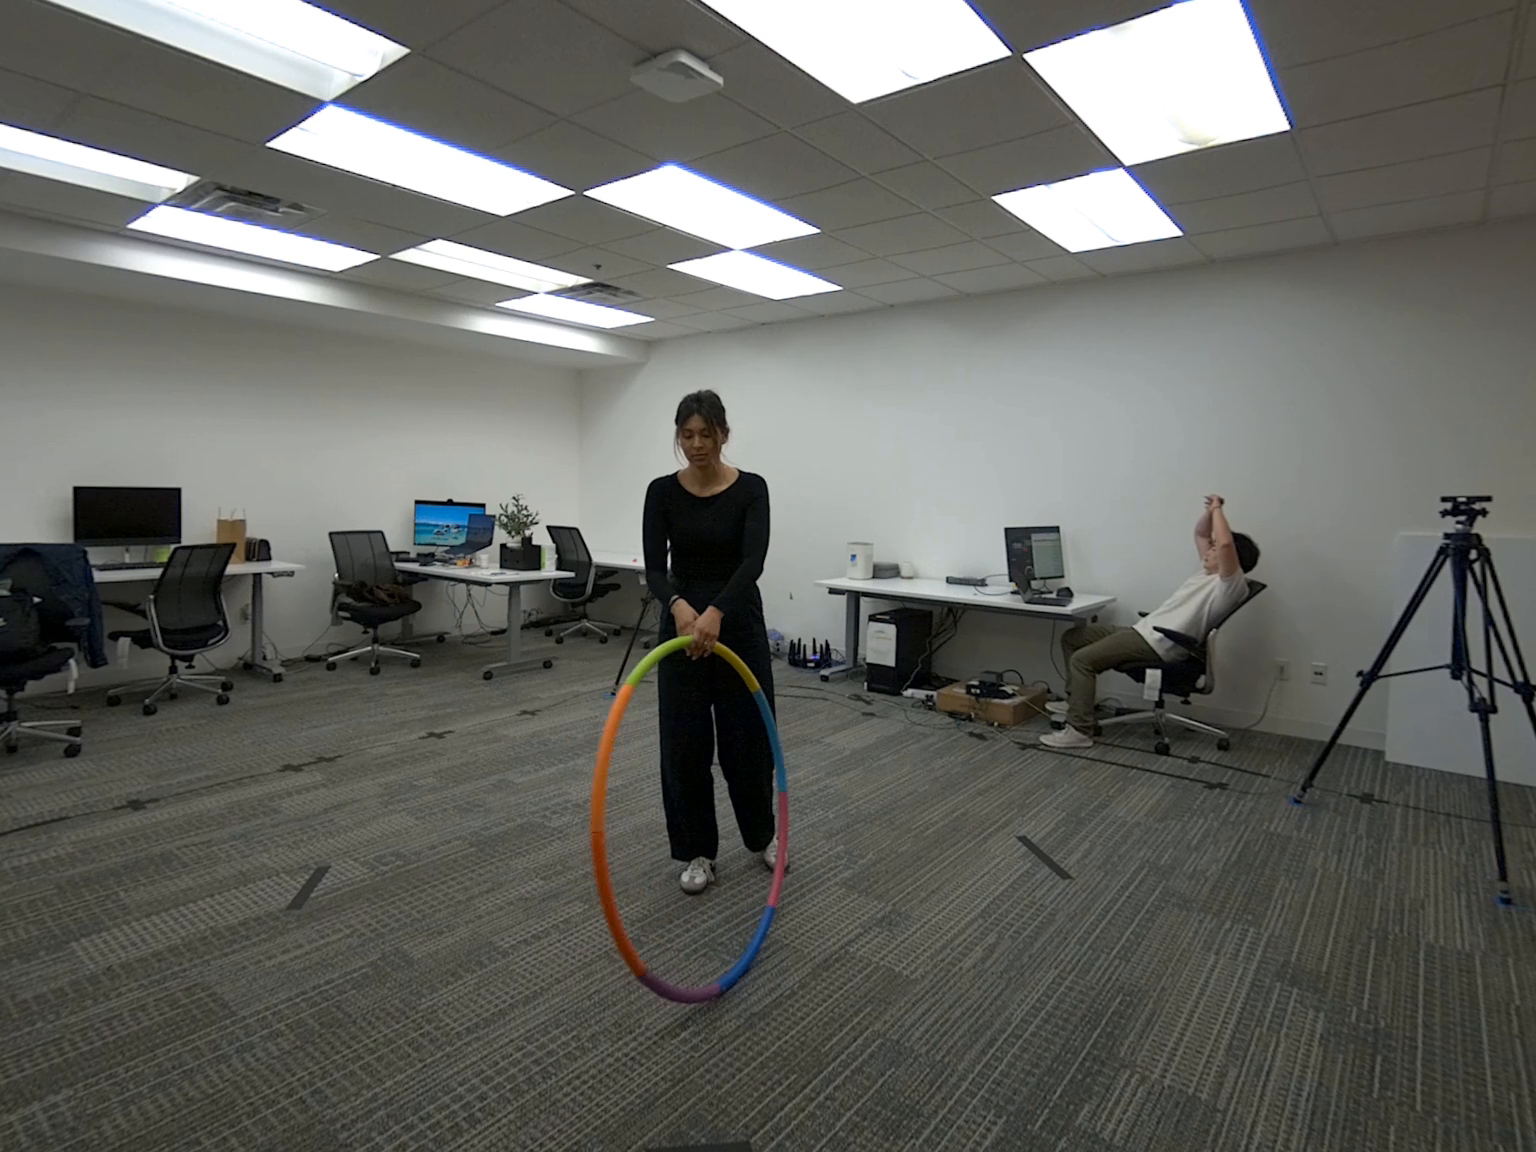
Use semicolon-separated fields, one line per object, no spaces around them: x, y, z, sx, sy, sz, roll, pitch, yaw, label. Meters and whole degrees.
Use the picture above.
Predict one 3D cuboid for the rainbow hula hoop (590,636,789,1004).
-0.176;0.659;2.430;0.036;0.982;0.955;-11;-2;28;rainbow hula hoop
